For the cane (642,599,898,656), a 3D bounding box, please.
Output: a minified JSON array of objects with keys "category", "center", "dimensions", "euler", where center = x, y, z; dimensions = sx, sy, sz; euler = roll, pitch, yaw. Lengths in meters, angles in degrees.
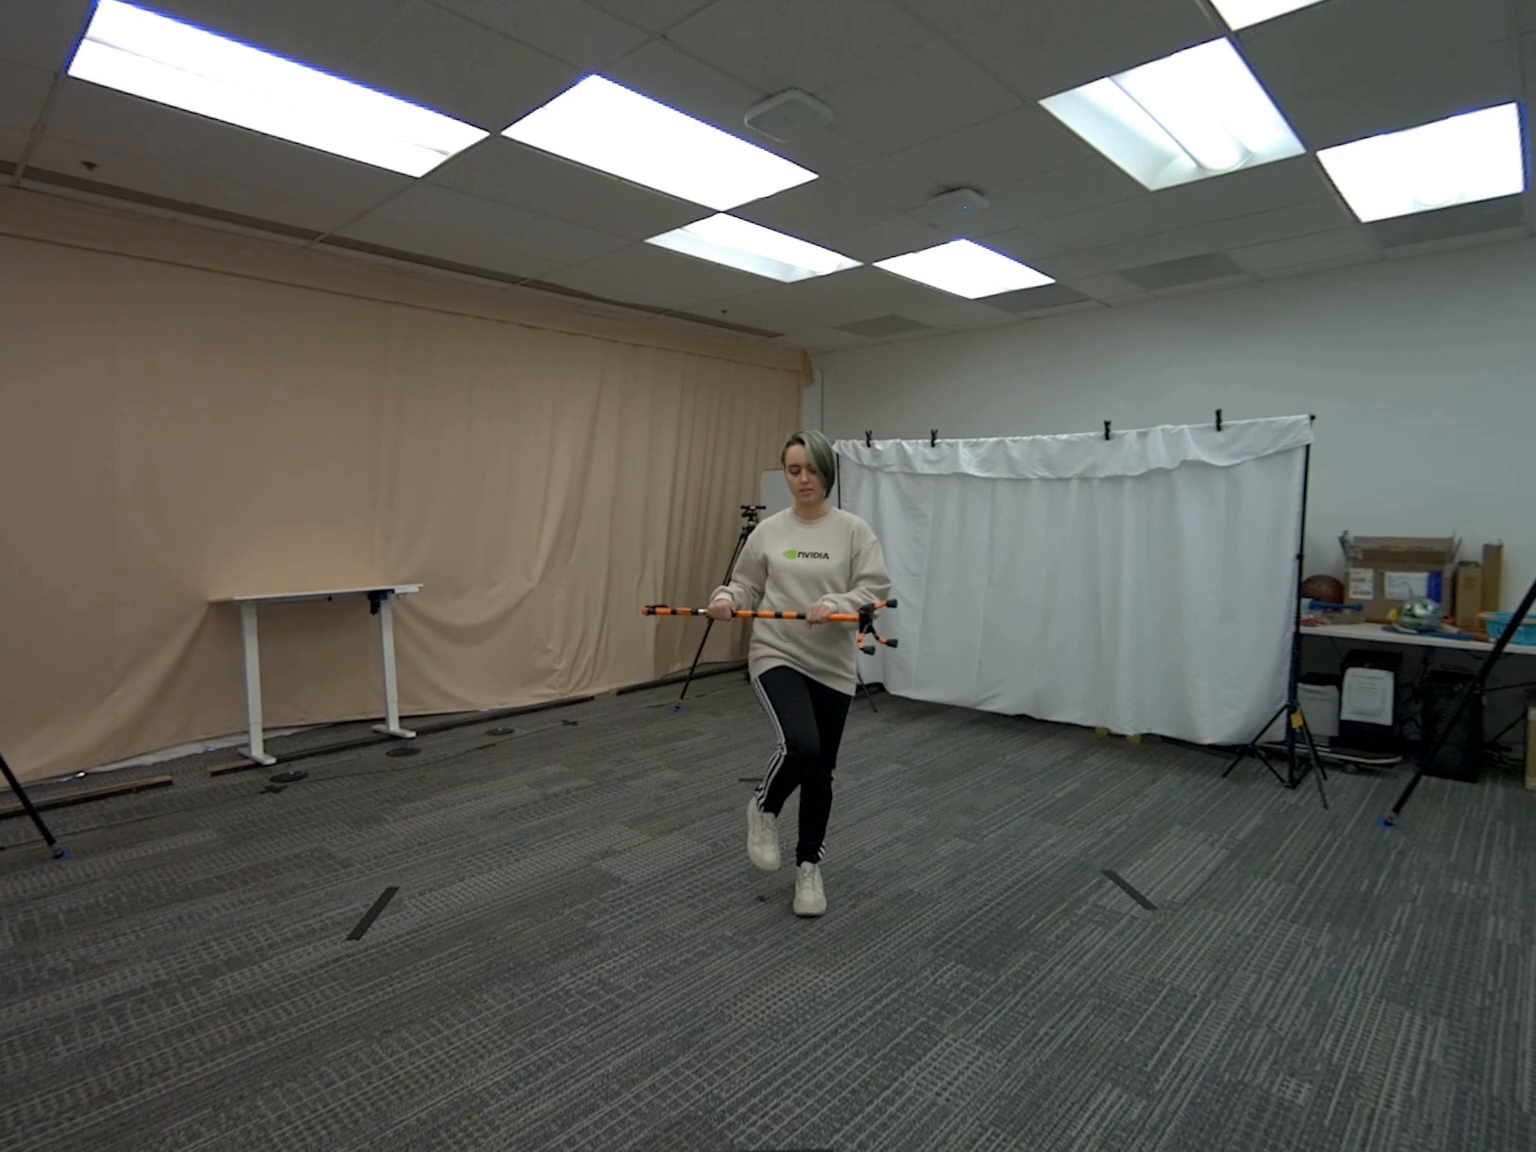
[{"category":"cane","center":[-0.054,0.141,2.747],"dimensions":[0.935,0.151,0.200],"euler":[1,2,32]}]
